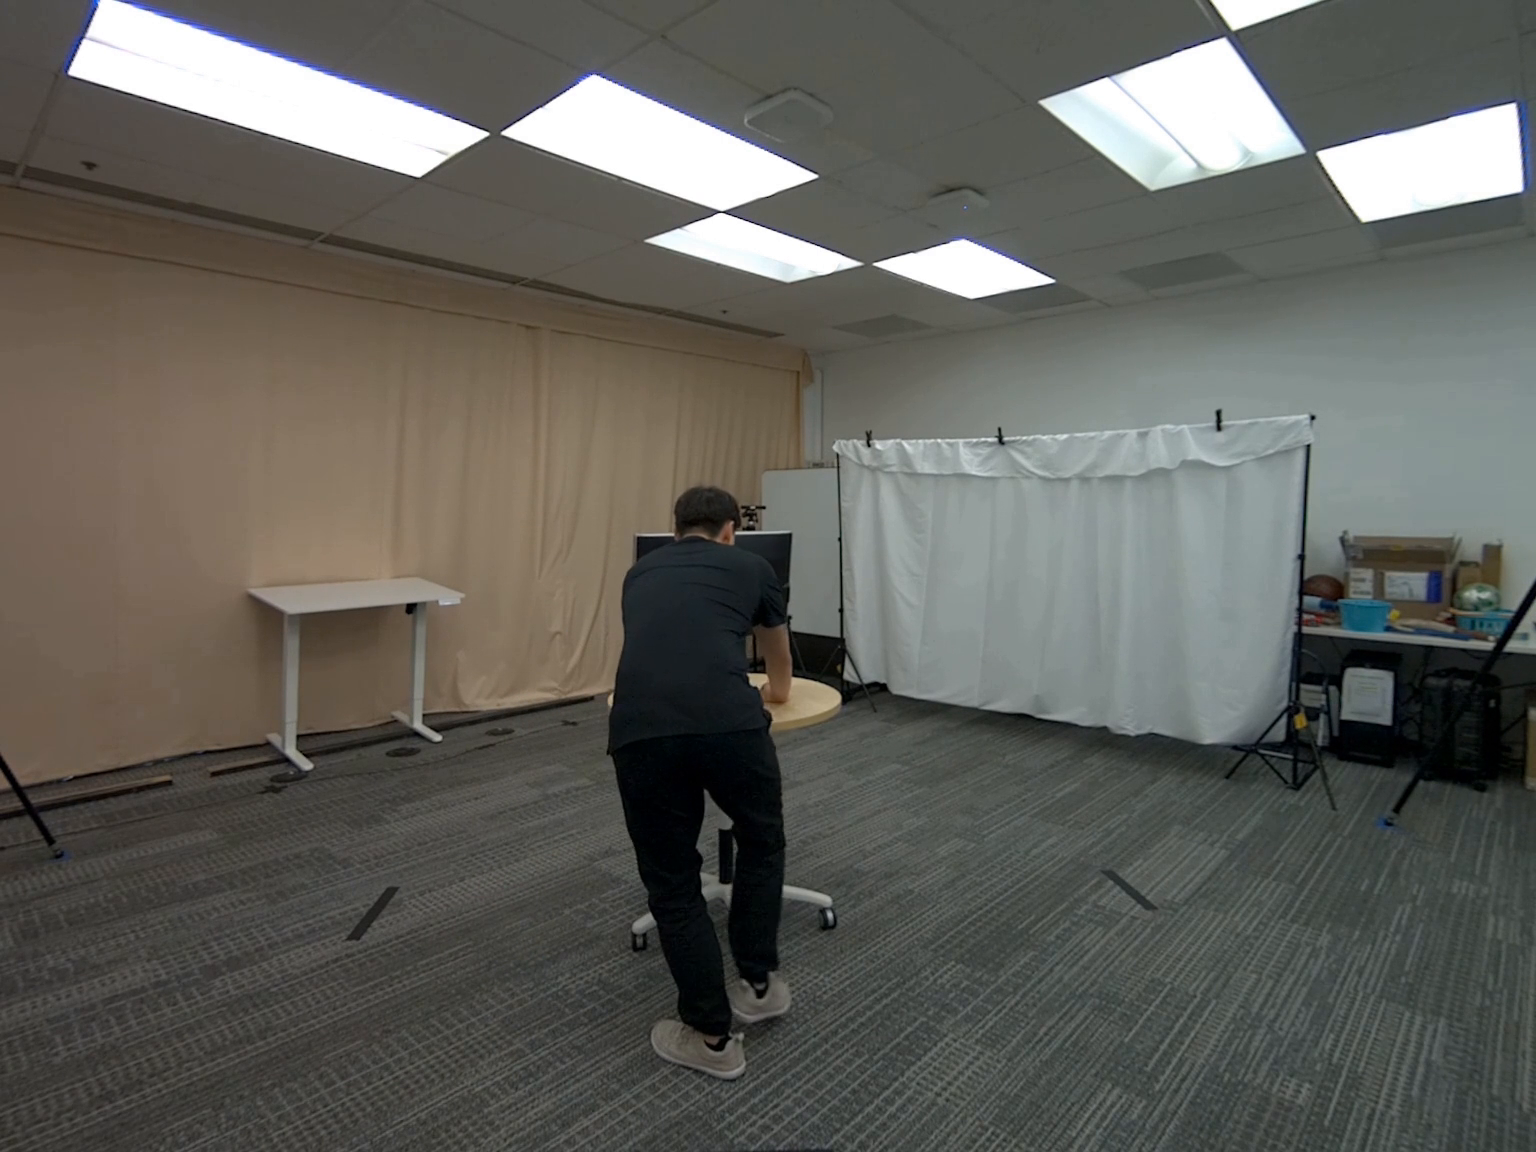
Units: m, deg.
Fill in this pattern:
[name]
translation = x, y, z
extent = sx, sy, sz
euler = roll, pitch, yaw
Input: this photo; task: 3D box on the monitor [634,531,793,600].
[monitor]
translation = -0.170, 0.127, 2.799
extent = 0.527, 0.522, 0.191
euler = -2, 1, -23
